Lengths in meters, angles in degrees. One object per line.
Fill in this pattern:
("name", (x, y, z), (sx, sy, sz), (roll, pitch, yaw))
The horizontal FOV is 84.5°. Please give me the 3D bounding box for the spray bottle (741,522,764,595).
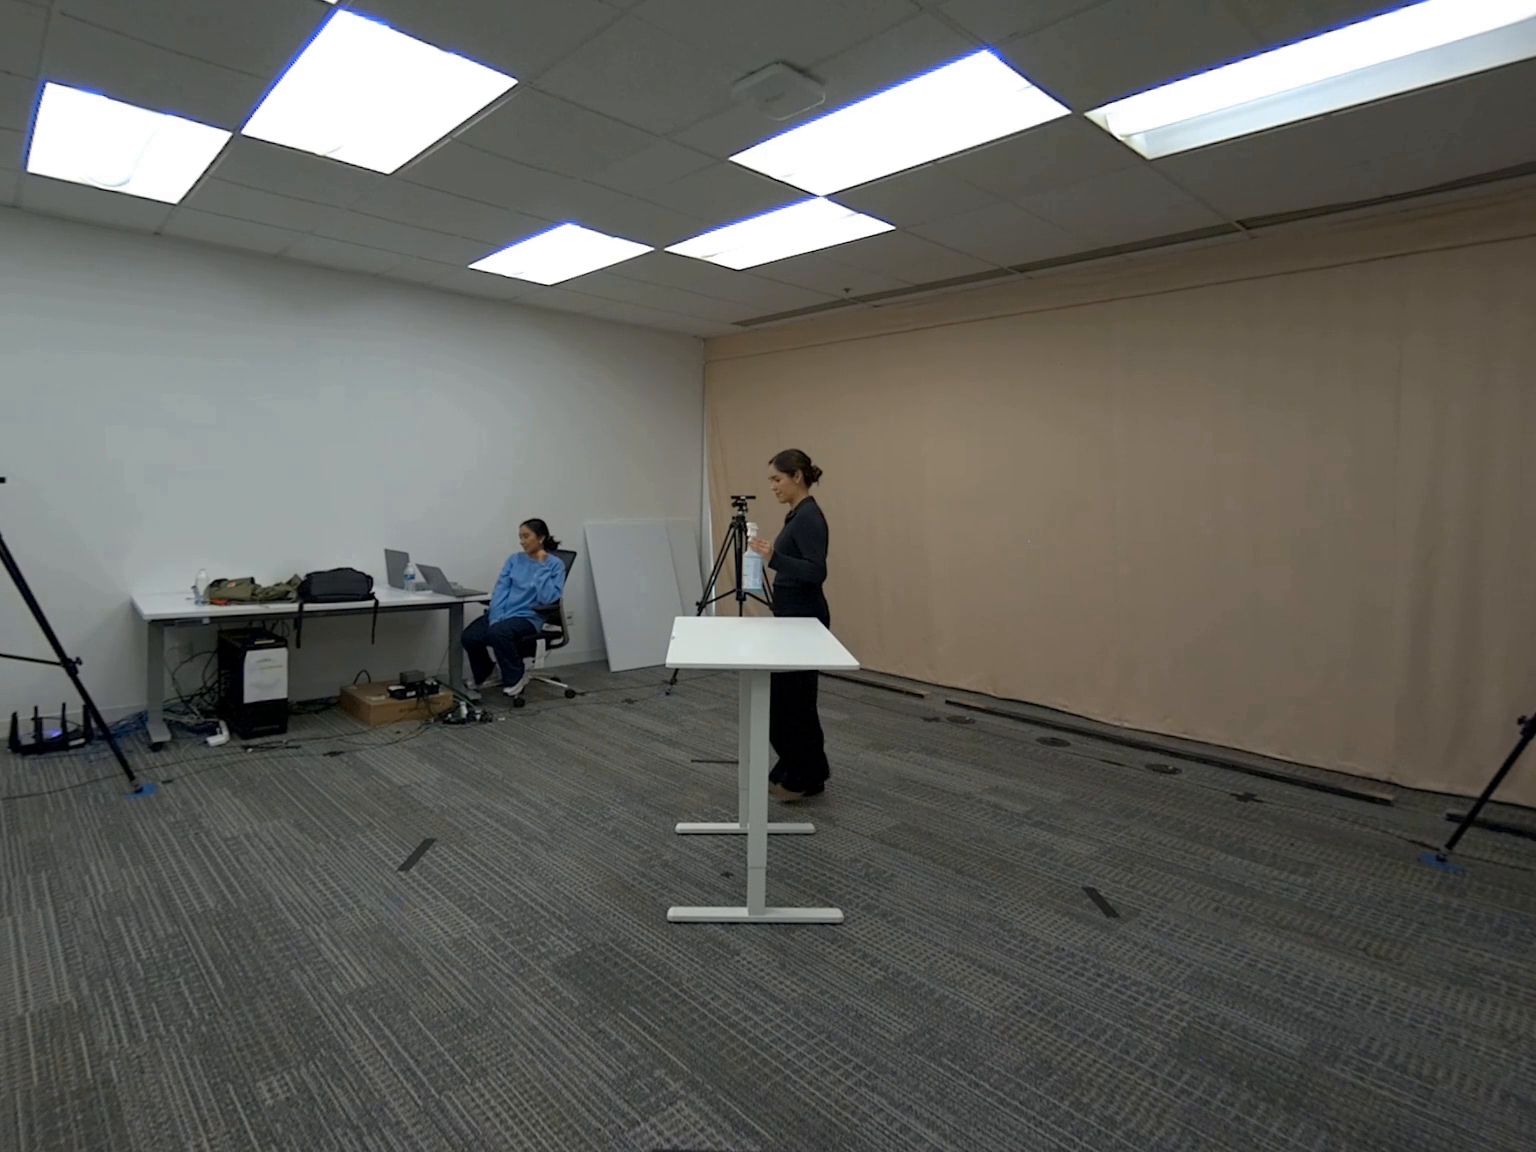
("spray bottle", (-0.073, -0.078, 3.614), (0.088, 0.297, 0.089), (-1, 1, -40))
